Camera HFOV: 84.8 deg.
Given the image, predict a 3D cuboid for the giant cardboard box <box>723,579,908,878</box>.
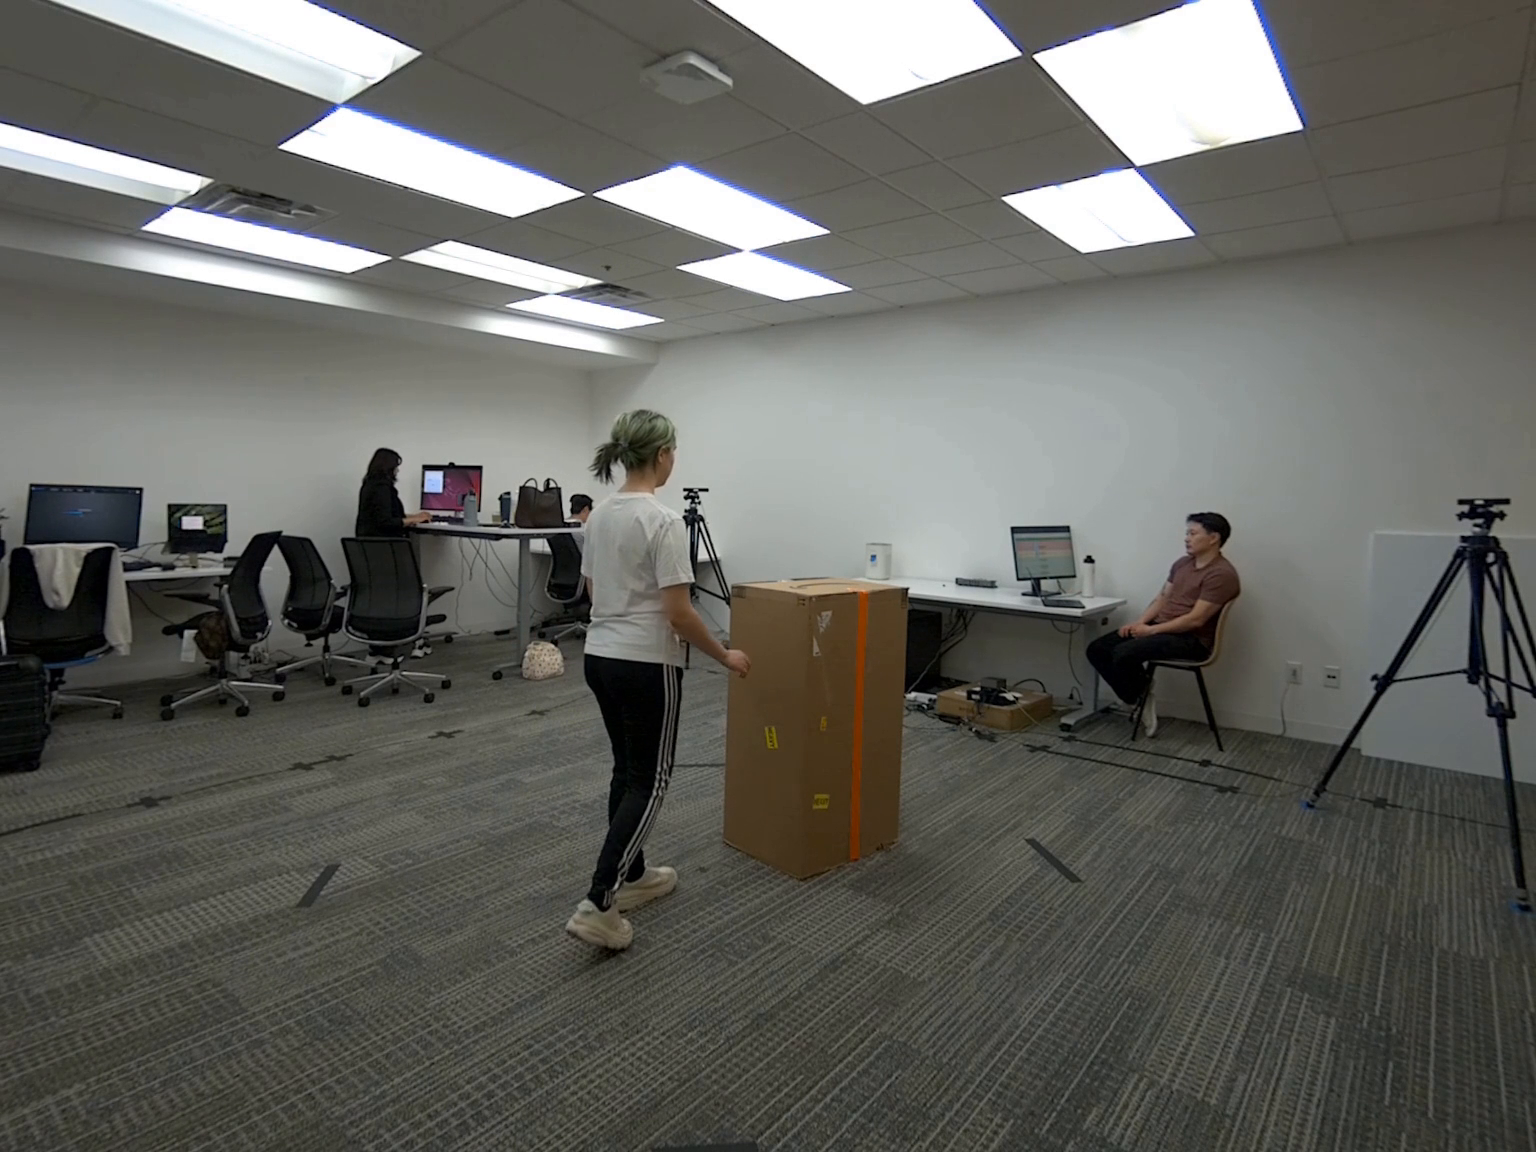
[{"bbox_3d":[0.183,0.547,3.352,0.566,1.025,0.462,-1,3,-44],"label":"giant cardboard box"}]
